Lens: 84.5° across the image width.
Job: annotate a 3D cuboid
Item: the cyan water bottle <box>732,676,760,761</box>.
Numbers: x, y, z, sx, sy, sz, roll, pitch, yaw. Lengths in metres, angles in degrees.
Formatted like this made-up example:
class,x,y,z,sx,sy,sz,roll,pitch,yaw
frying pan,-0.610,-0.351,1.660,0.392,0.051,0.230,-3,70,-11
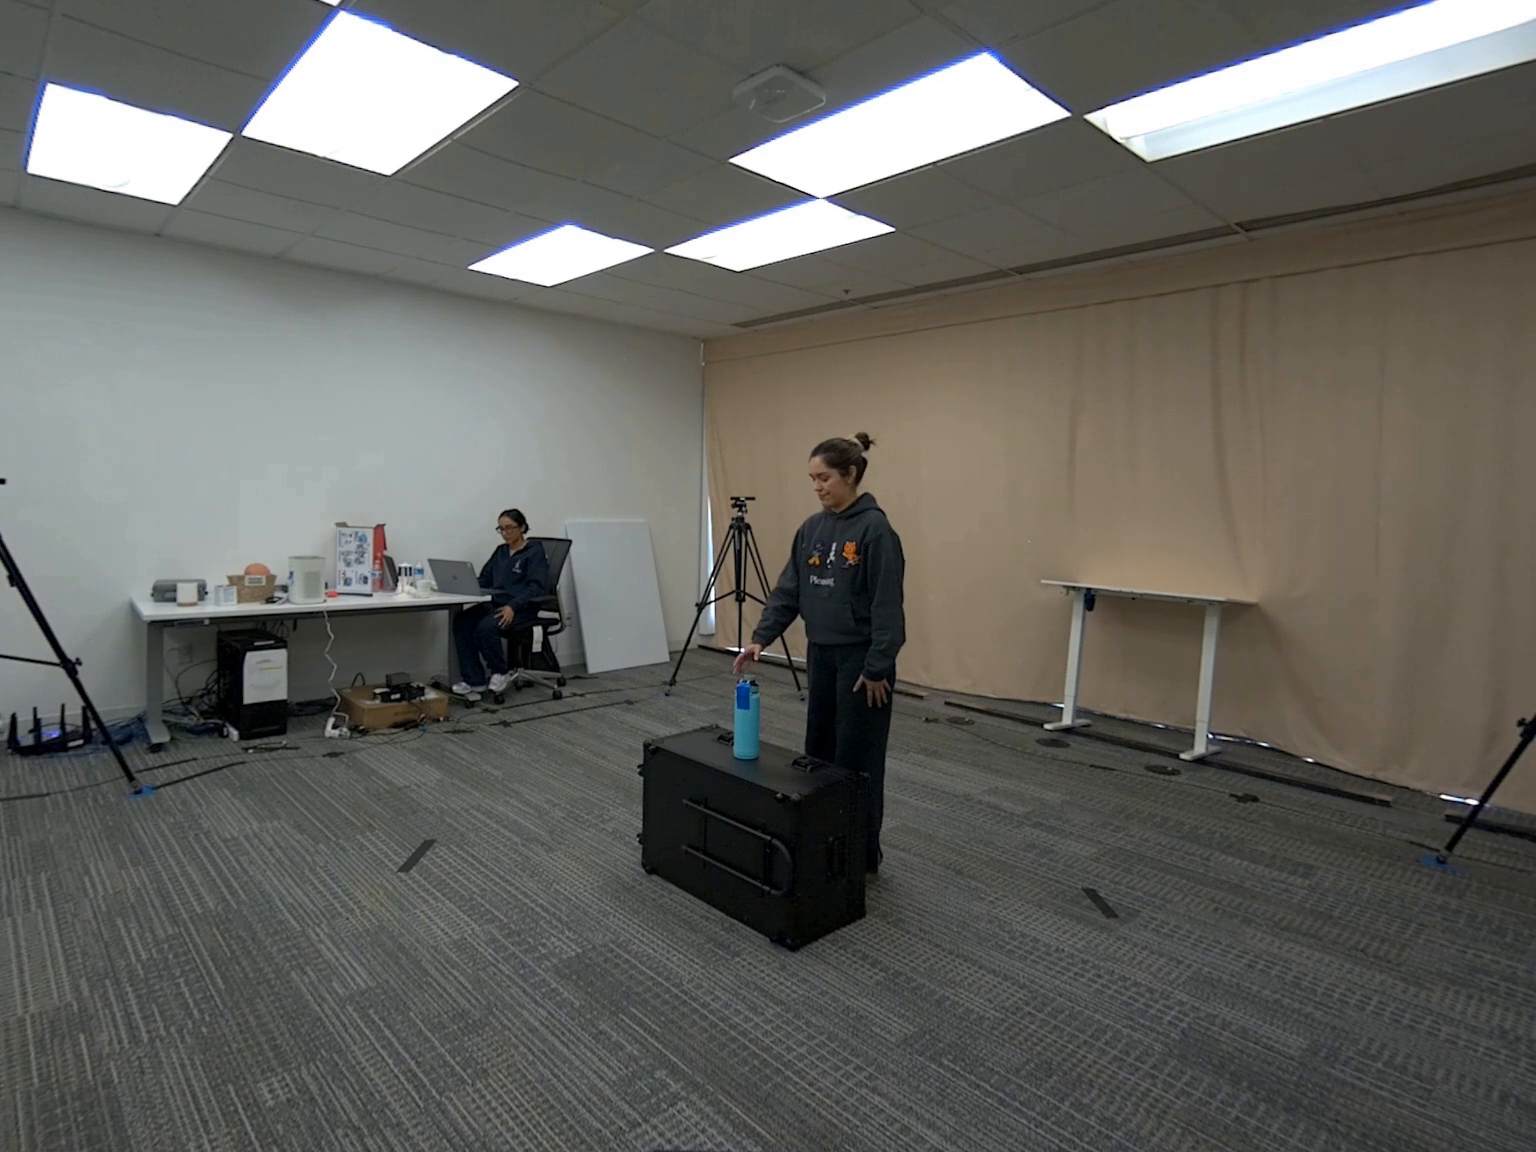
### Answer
class,x,y,z,sx,sy,sz,roll,pitch,yaw
cyan water bottle,-0.078,0.497,2.987,0.092,0.282,0.093,2,6,-2
